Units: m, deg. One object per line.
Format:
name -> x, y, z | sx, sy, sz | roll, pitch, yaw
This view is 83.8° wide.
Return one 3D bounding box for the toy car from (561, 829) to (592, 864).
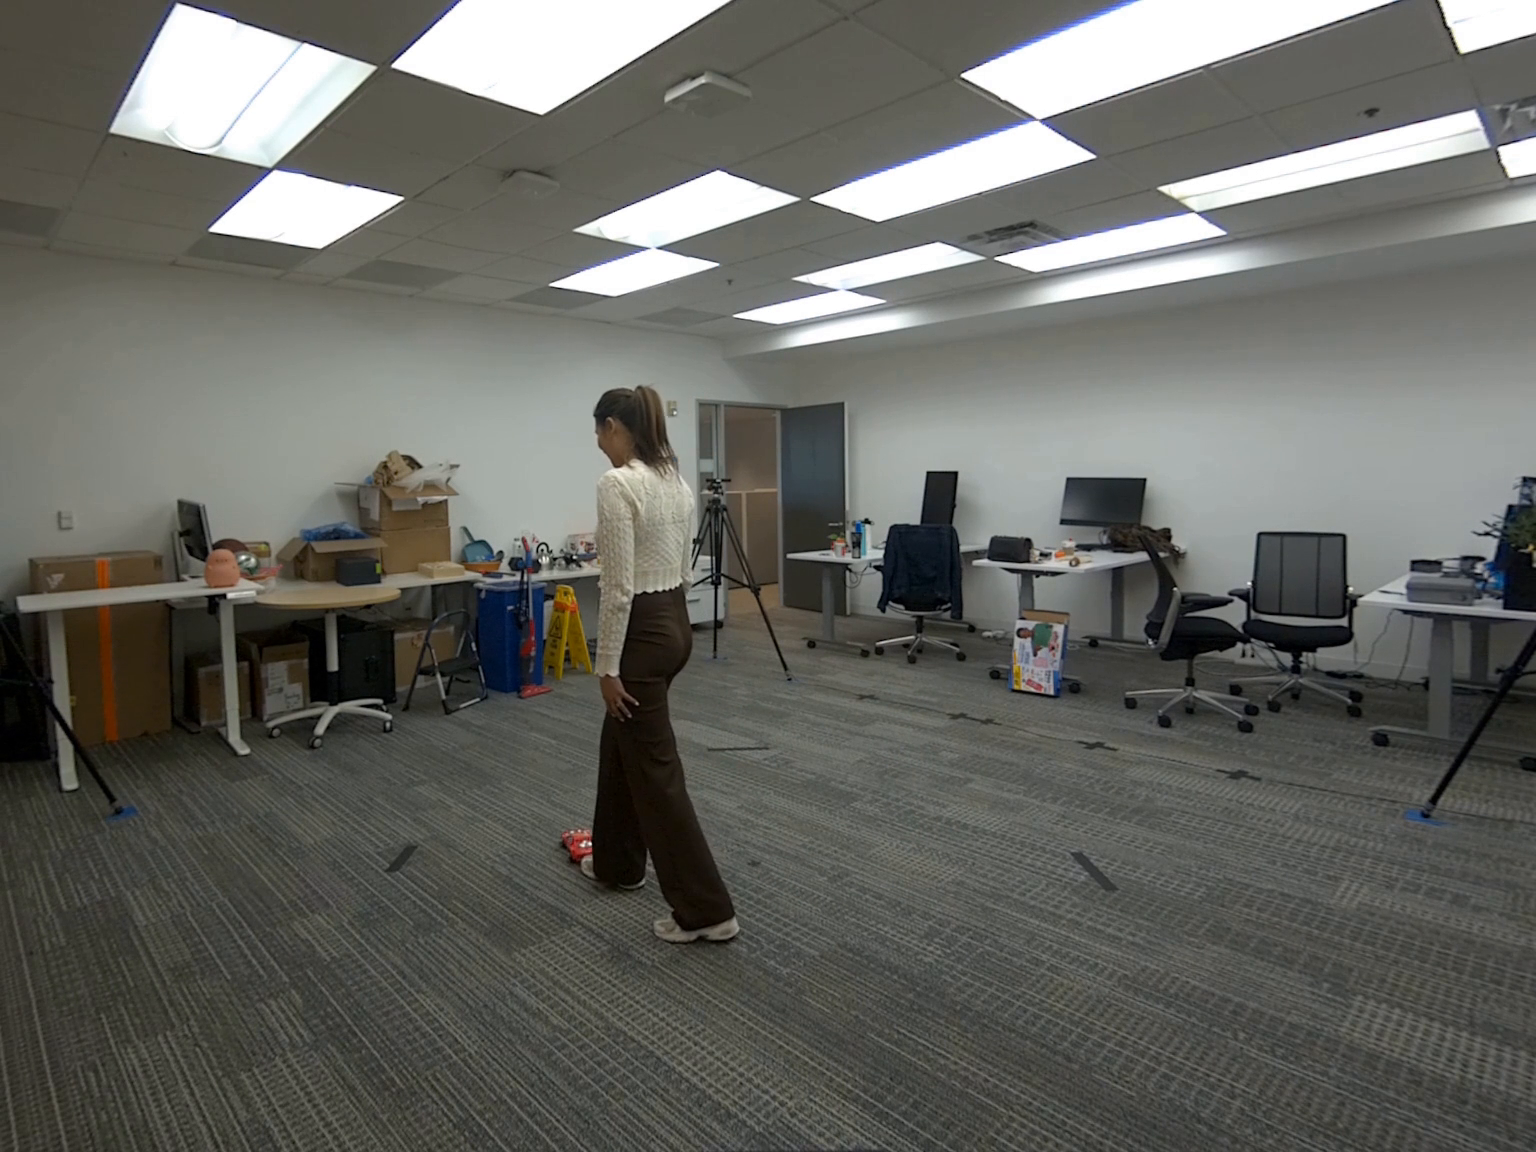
toy car -> -0.699, 1.011, 3.205 | 0.128, 0.083, 0.258 | -6, -4, -23
